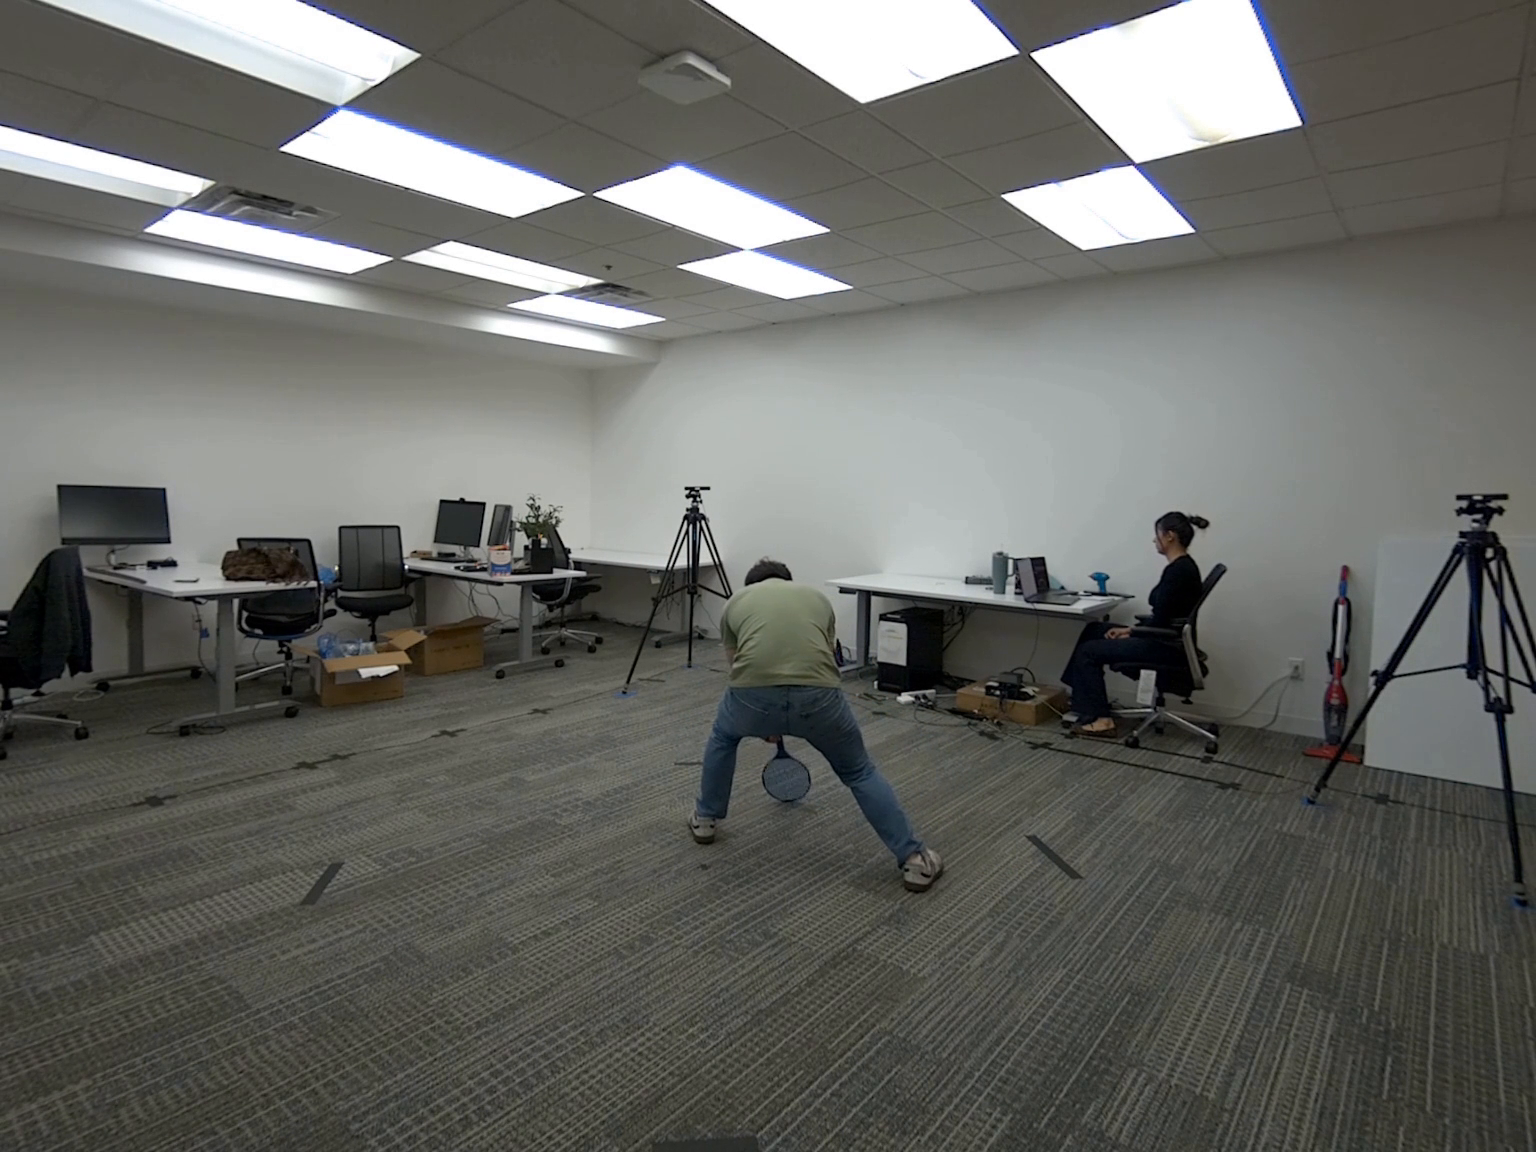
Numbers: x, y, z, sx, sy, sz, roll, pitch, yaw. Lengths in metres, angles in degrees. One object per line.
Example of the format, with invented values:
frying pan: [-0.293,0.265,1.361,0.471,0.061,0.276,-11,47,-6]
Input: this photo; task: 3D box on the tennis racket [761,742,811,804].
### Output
tennis racket: [0.060,0.820,3.691,0.215,0.421,0.032,-5,29,6]
